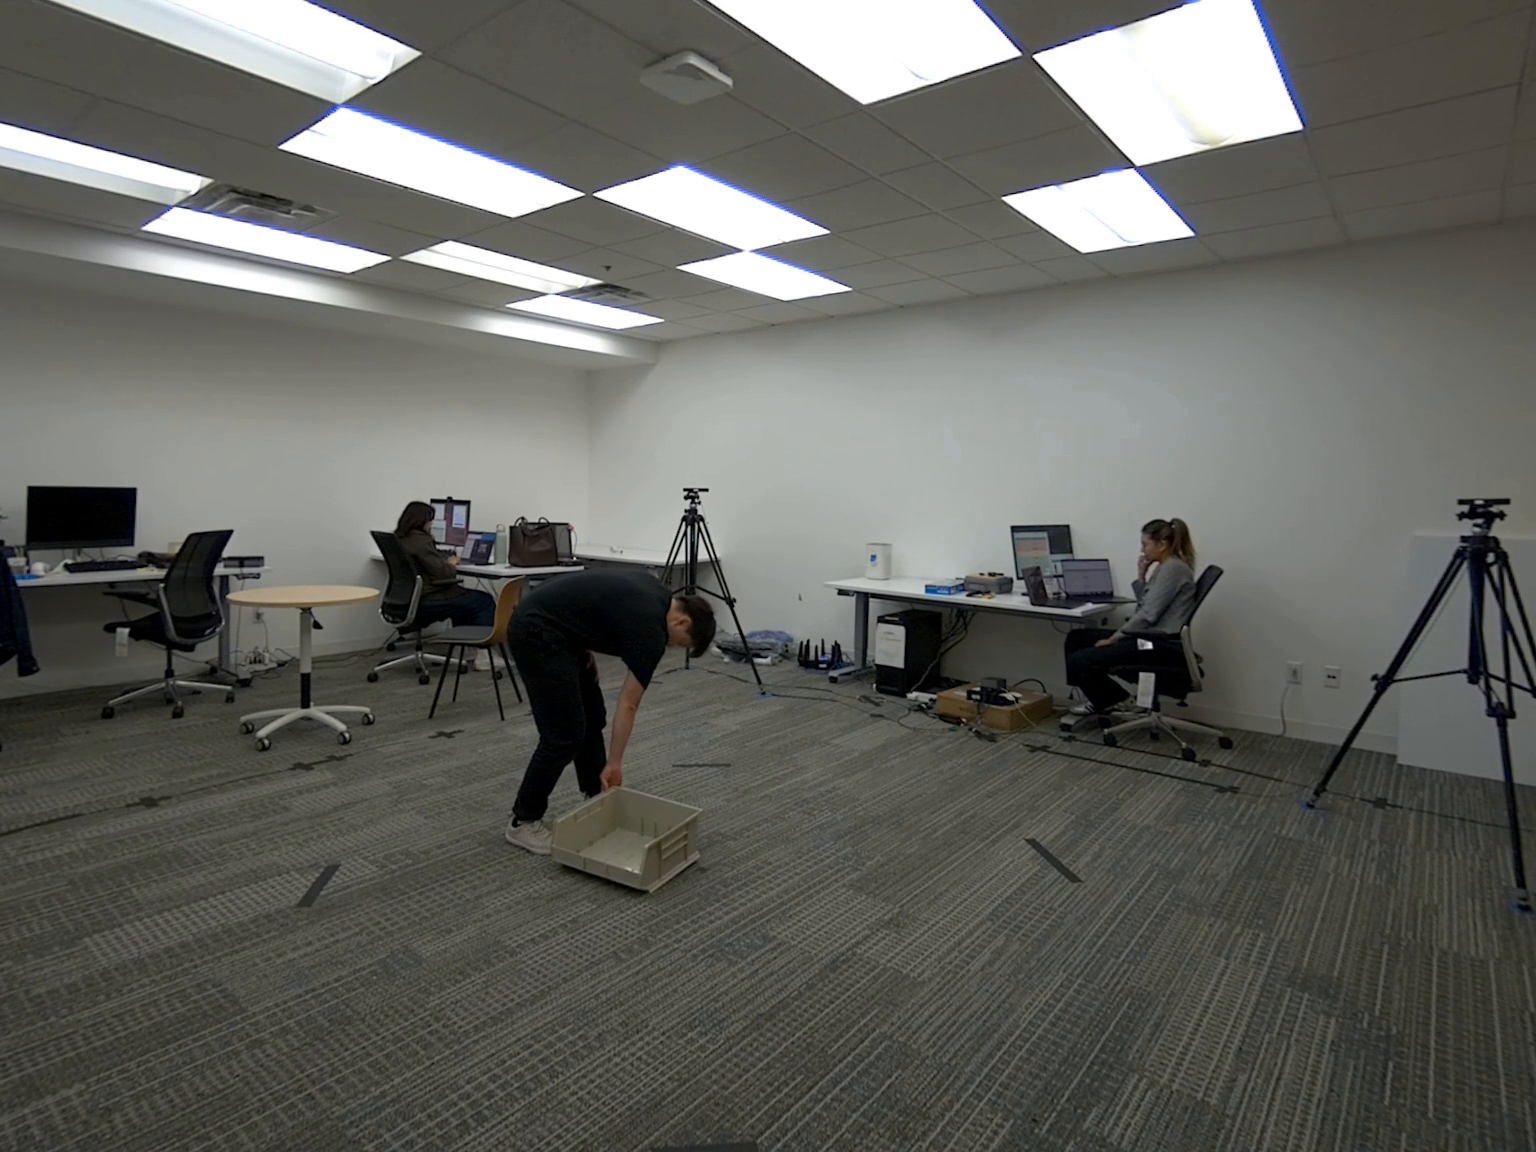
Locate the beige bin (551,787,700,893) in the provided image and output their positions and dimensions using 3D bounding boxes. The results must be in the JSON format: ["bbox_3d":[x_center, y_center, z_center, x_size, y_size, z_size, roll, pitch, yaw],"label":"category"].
[{"bbox_3d":[-0.524,0.965,3.122,0.435,0.188,0.368,4,8,30],"label":"beige bin"}]
